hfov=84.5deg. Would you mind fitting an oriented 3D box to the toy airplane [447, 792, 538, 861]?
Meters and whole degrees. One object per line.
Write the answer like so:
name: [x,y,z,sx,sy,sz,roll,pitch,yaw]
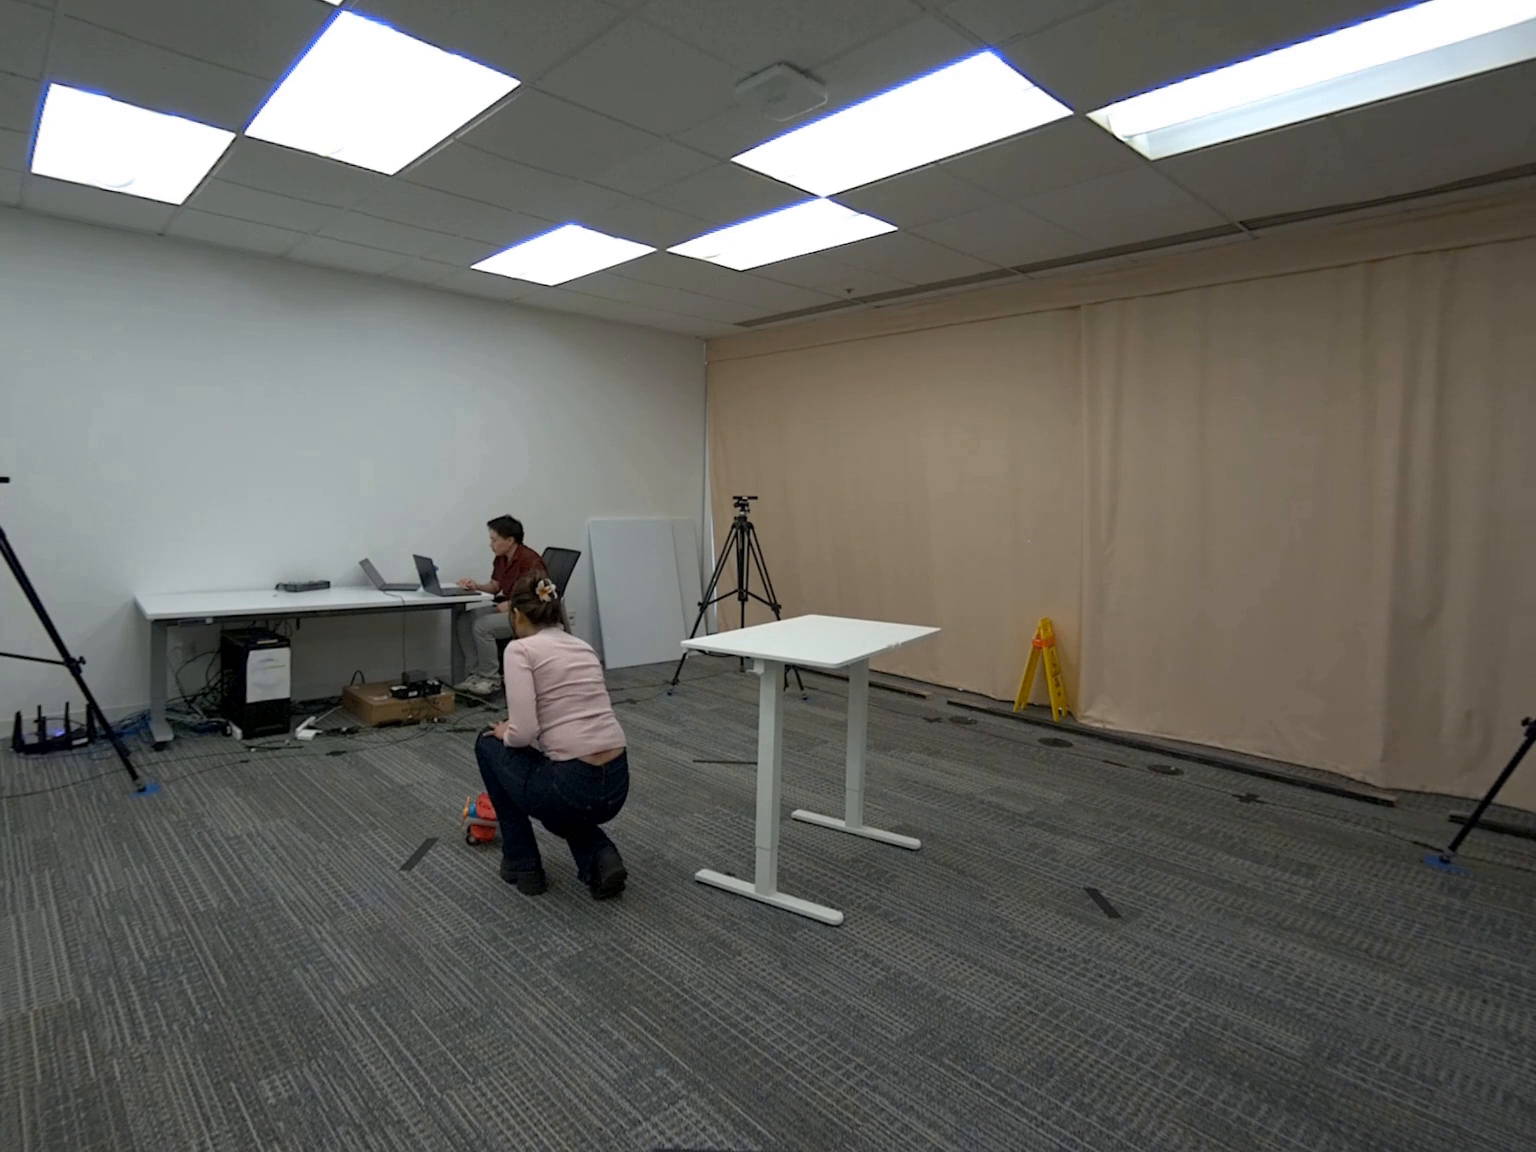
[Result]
toy airplane: [-1.107,0.984,3.390,0.253,0.156,0.257,-5,8,-44]
